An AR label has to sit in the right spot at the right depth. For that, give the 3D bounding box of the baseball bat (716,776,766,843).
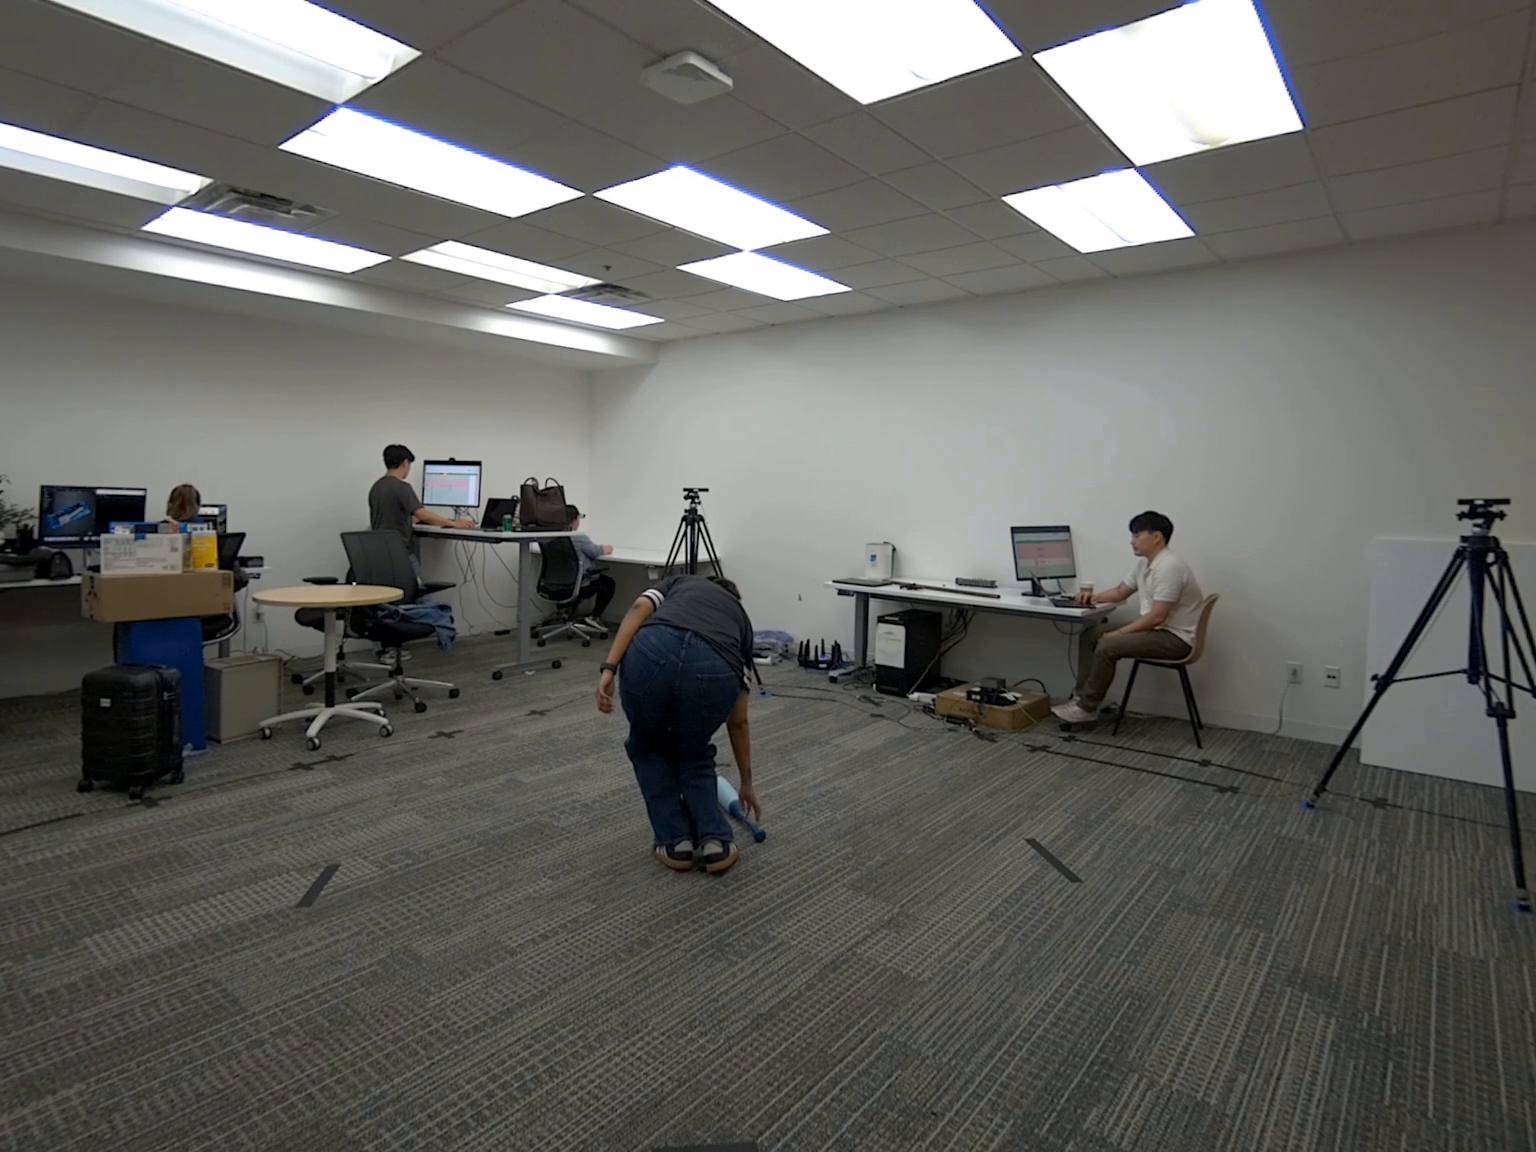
[{"bbox_3d":[-0.140,0.984,3.601,0.087,0.088,0.557,-1,8,-20],"label":"baseball bat"}]
